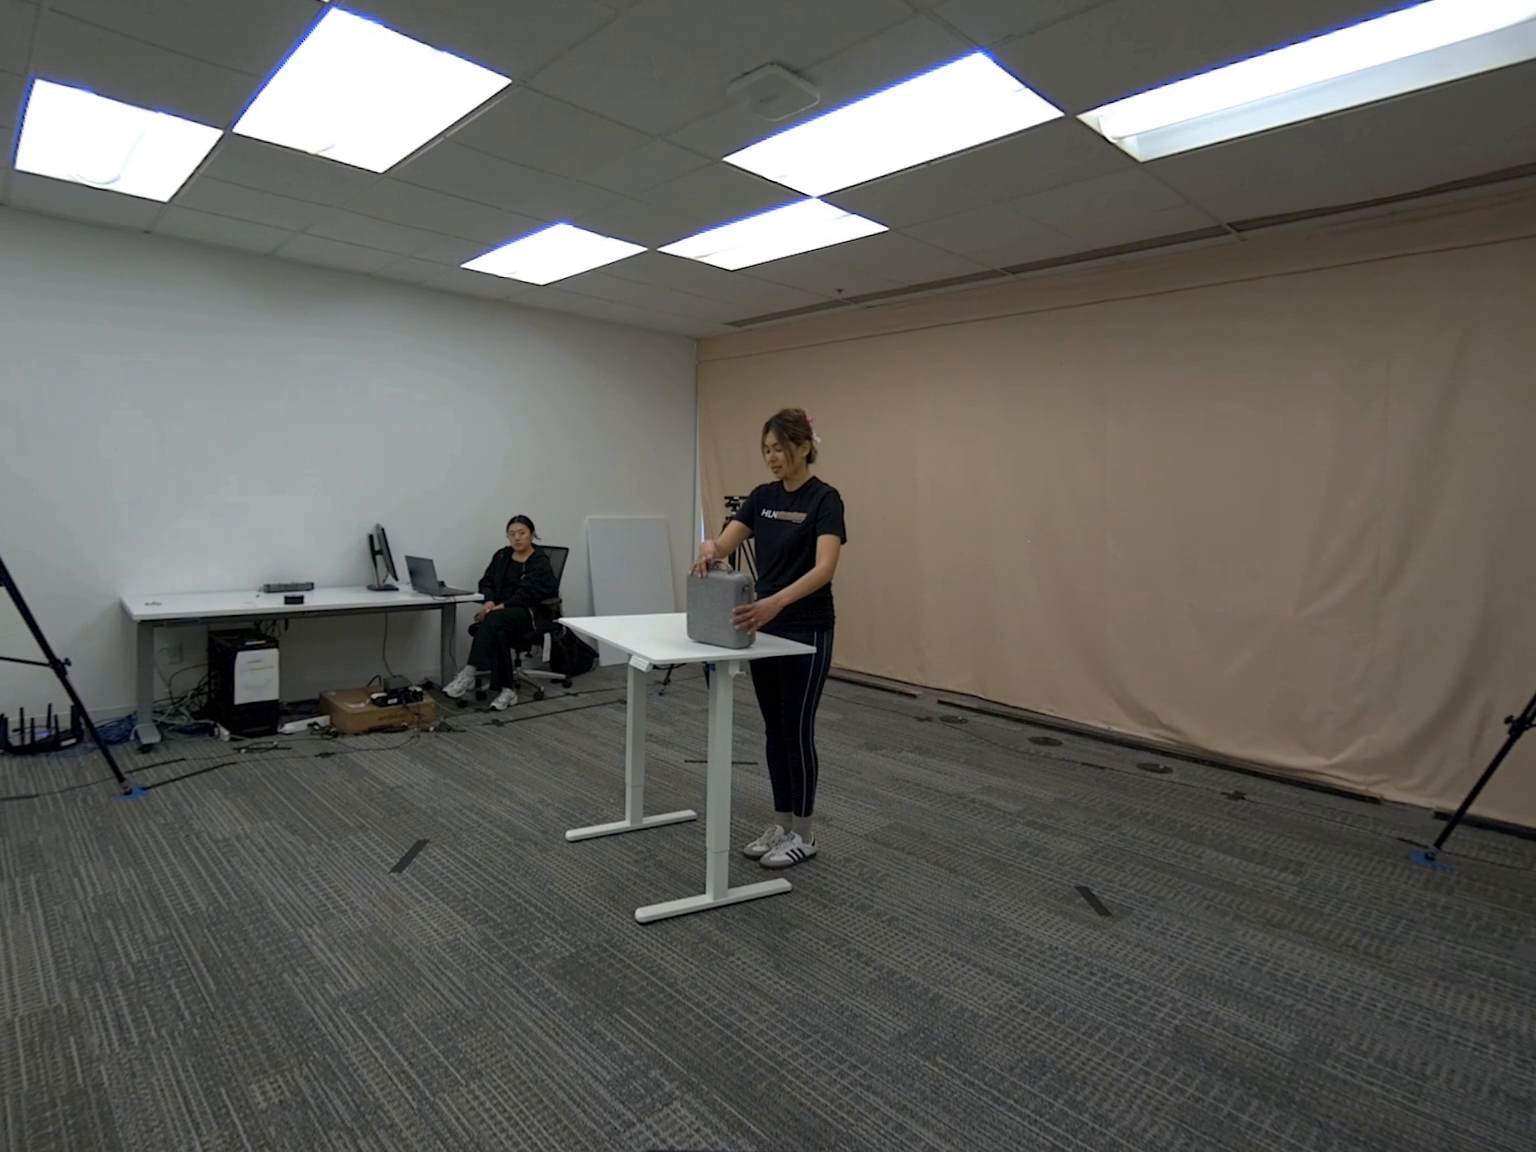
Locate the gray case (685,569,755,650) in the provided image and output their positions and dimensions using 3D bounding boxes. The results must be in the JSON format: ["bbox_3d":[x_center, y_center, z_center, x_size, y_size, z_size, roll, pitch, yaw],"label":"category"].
[{"bbox_3d":[-0.171,0.106,2.876,0.263,0.259,0.102,5,10,44],"label":"gray case"}]
